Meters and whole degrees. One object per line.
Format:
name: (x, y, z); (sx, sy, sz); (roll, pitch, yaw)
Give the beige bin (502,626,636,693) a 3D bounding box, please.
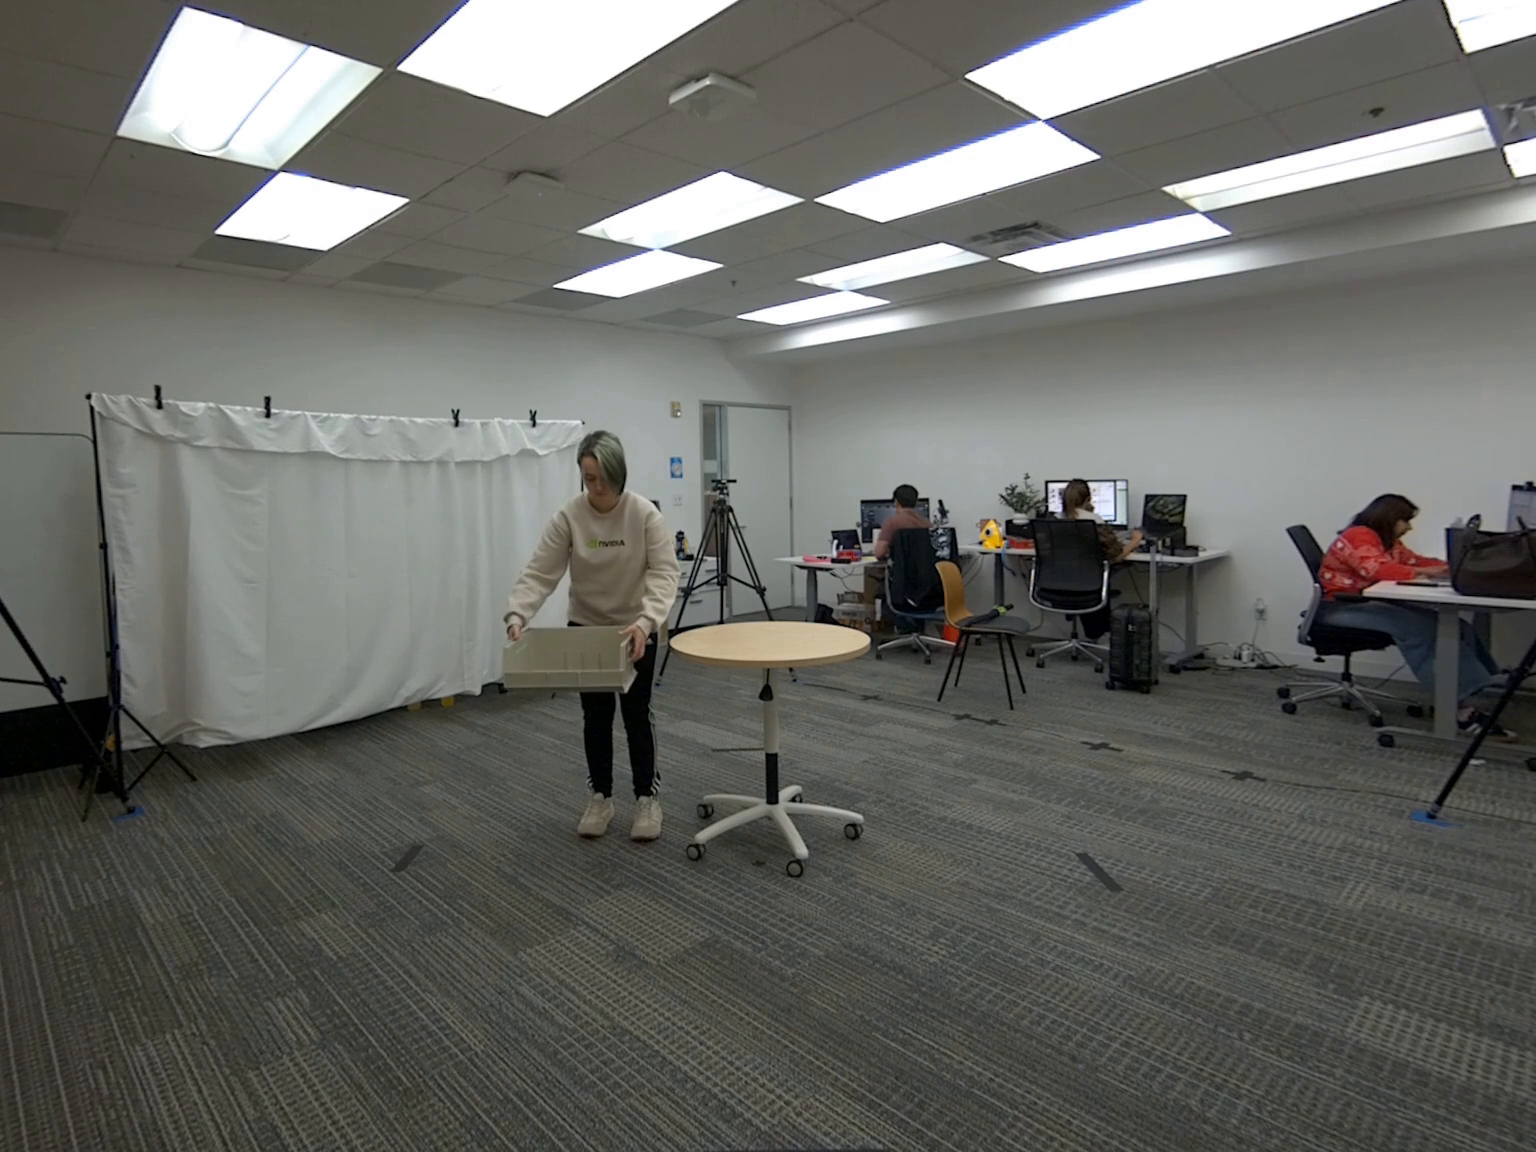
beige bin: (-0.708, 0.303, 3.061); (0.421, 0.188, 0.380); (-1, 7, -3)
